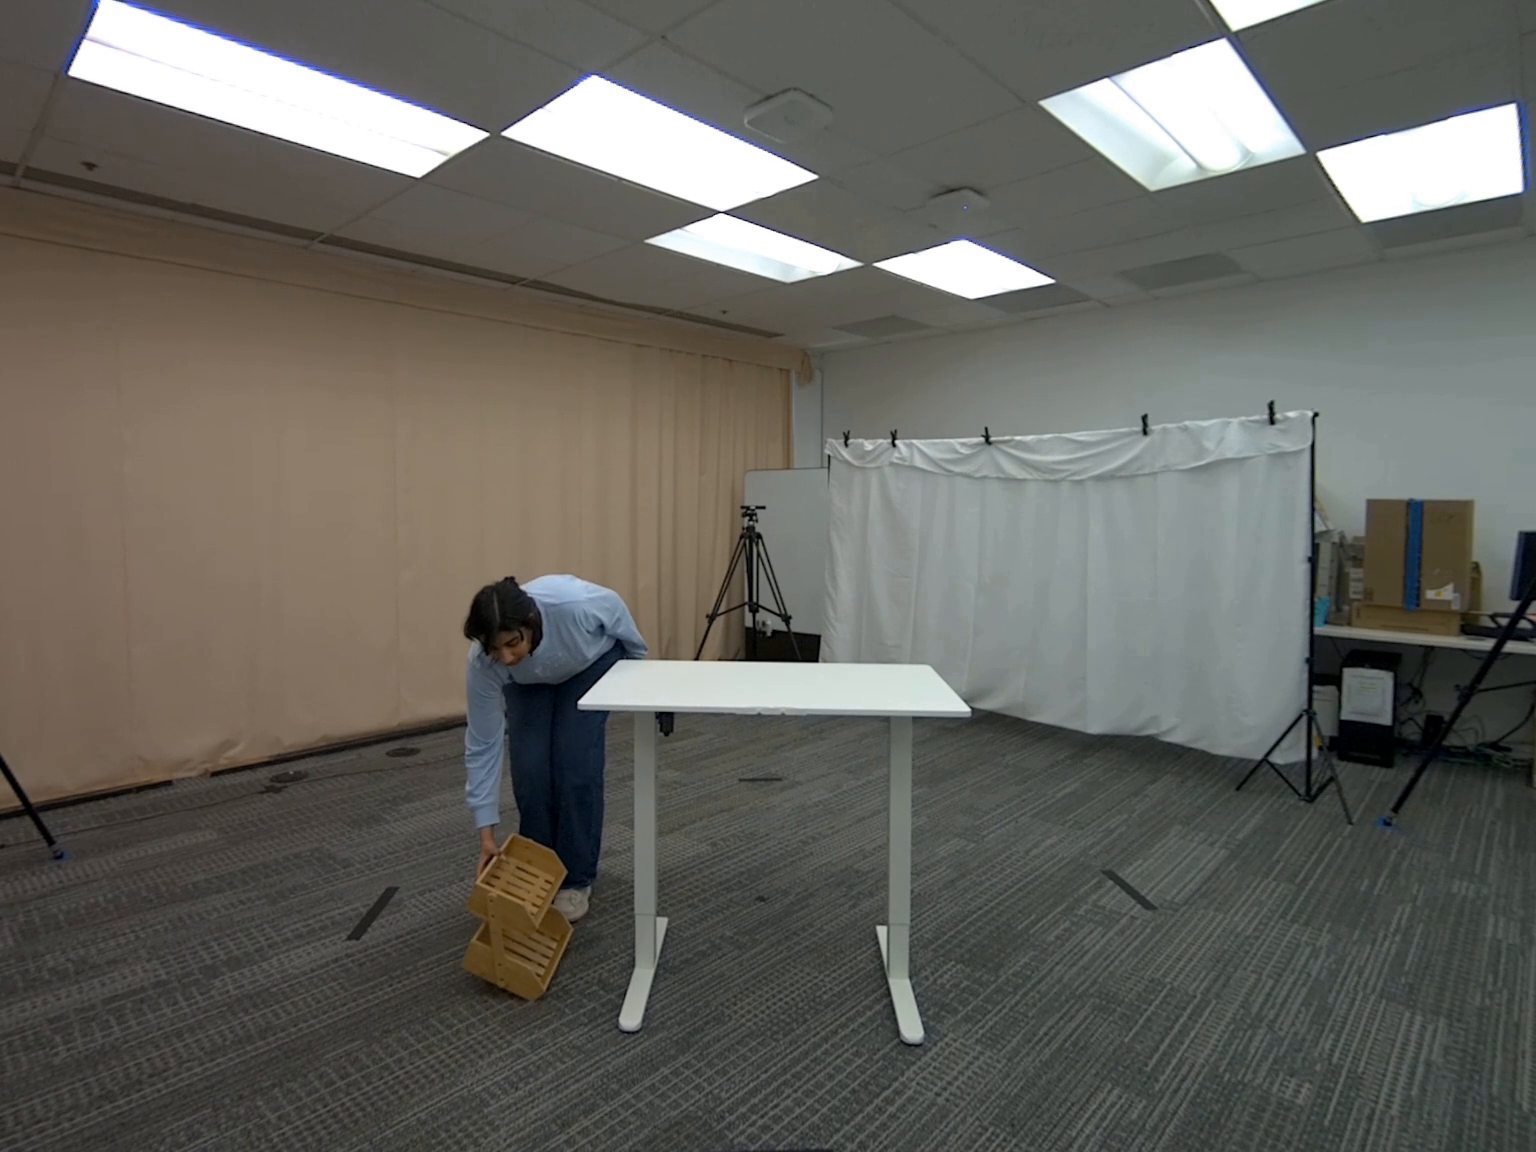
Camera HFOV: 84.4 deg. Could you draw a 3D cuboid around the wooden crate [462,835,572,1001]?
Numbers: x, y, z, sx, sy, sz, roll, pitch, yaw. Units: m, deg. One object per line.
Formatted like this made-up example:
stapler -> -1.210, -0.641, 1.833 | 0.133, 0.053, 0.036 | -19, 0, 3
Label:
wooden crate -> -0.700, 0.994, 2.503 | 0.303, 0.273, 0.324 | 23, 10, 2
